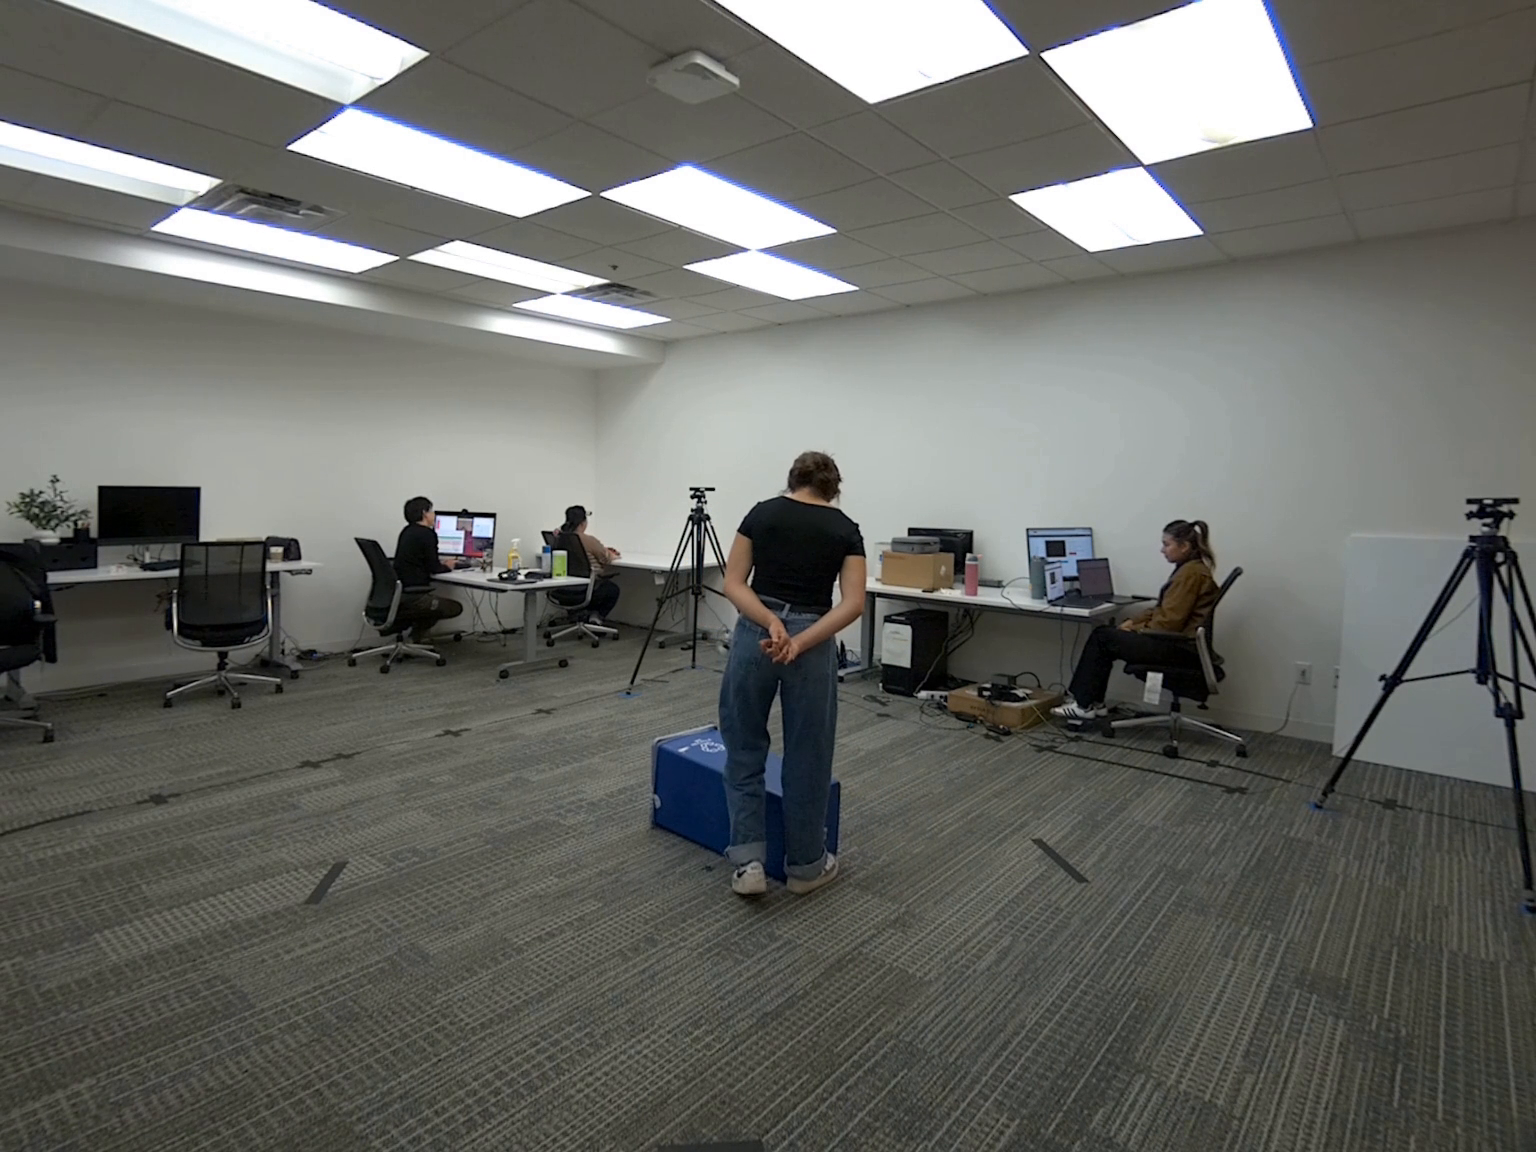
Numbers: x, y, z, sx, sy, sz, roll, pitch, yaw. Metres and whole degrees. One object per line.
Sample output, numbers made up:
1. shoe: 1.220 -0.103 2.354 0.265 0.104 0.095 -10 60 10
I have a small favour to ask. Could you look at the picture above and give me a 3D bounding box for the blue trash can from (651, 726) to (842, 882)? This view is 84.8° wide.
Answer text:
1. blue trash can: -0.106 0.880 3.343 0.739 0.376 0.363 10 8 42
